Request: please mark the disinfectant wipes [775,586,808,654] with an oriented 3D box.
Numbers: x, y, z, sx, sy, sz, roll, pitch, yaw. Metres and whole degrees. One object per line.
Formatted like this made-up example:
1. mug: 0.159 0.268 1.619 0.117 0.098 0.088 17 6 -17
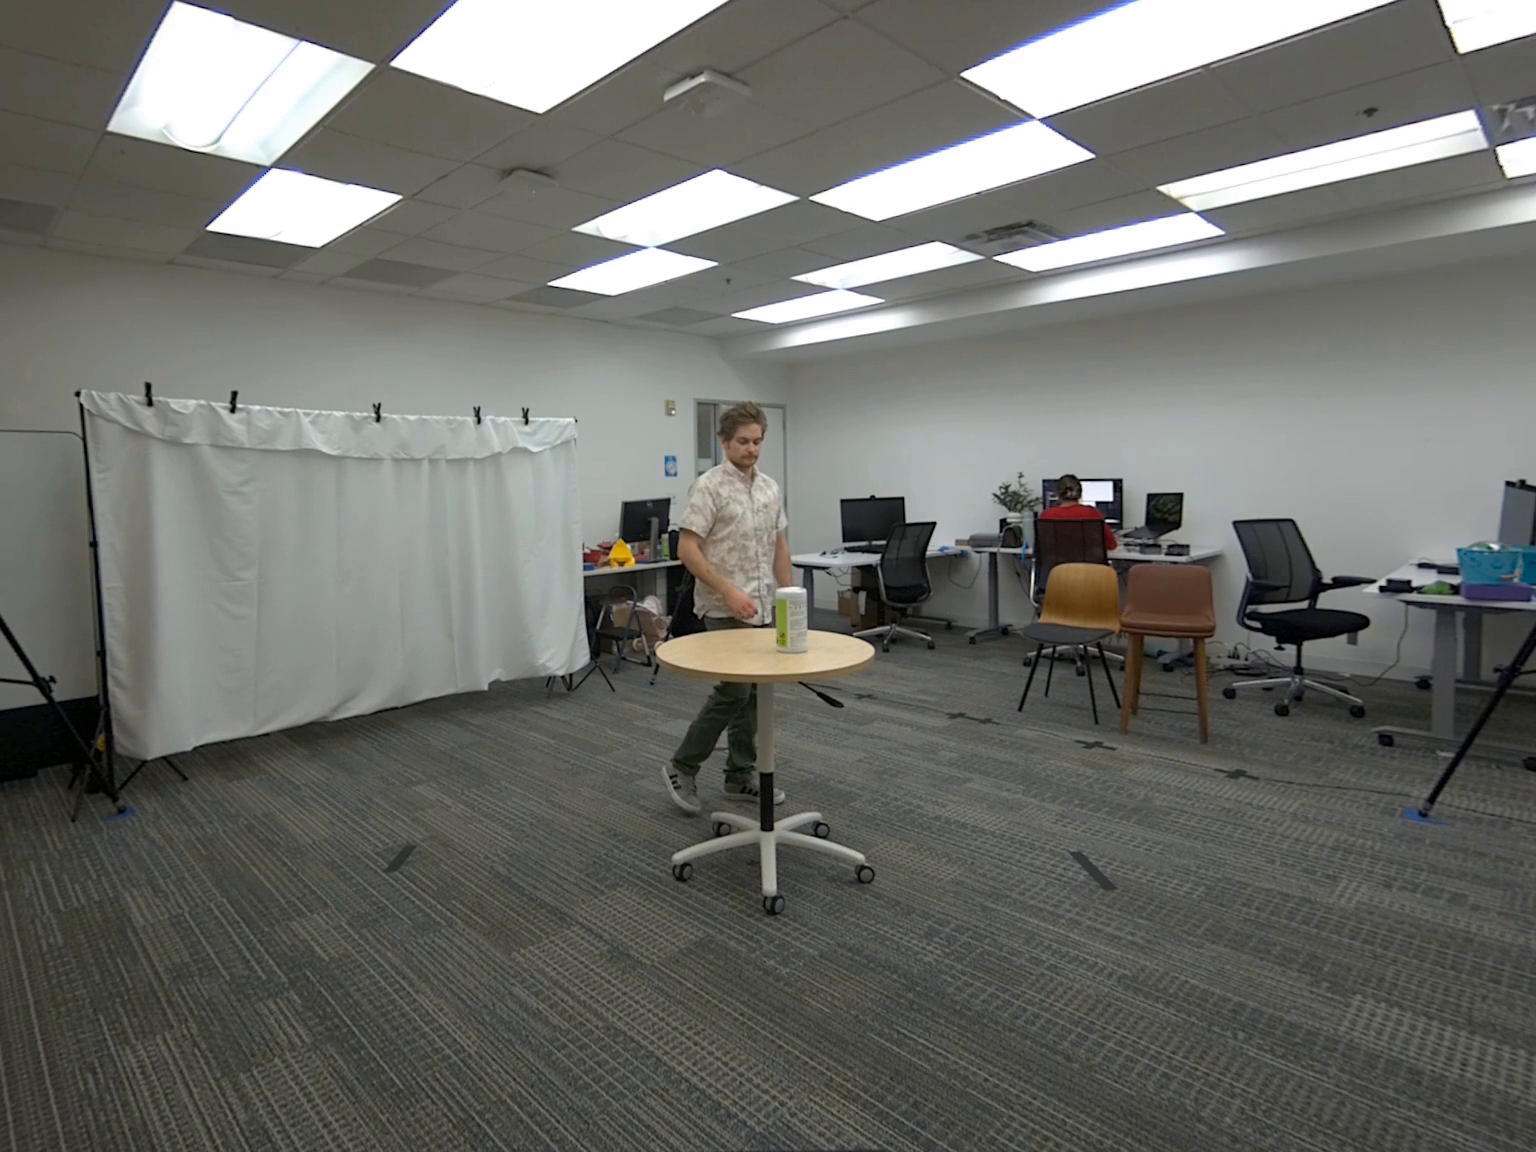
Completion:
1. disinfectant wipes: 0.084 0.156 2.975 0.118 0.217 0.118 -1 4 -2
